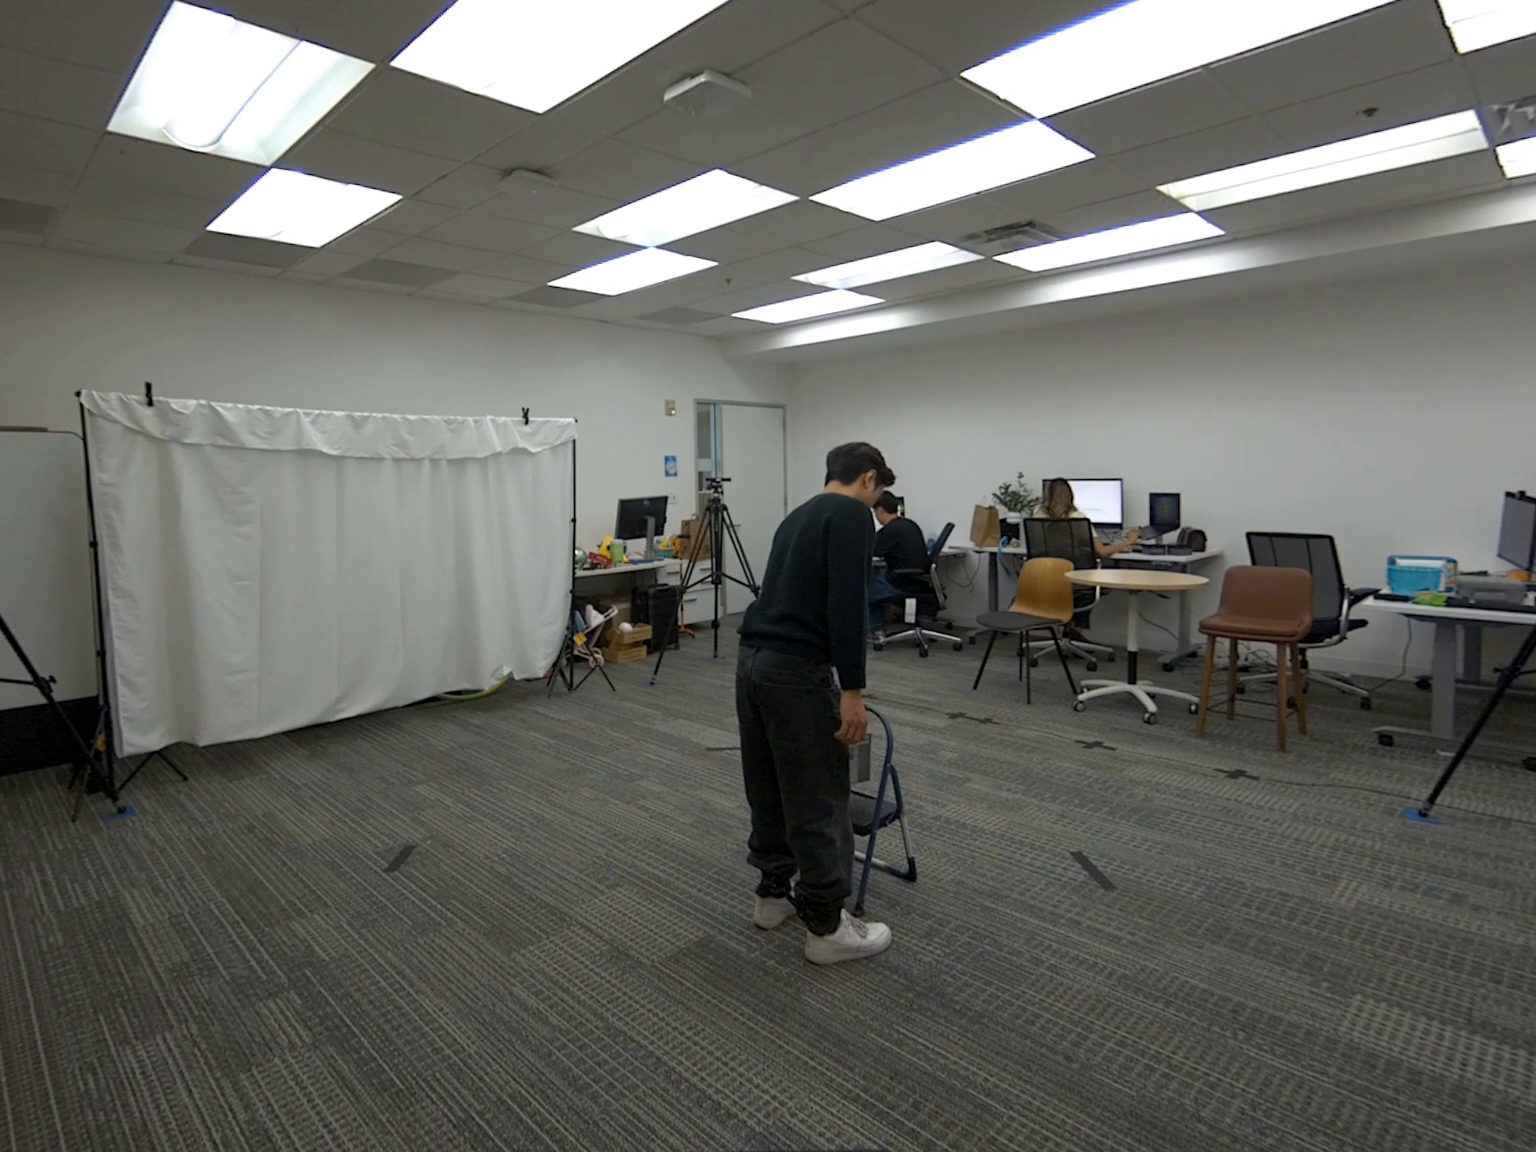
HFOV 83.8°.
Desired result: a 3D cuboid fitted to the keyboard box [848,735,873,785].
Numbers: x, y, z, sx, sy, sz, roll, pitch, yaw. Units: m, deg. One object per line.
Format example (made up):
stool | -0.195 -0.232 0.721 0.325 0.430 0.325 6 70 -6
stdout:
keyboard box | 0.168 0.642 2.897 0.426 0.175 0.061 -4 6 -30
